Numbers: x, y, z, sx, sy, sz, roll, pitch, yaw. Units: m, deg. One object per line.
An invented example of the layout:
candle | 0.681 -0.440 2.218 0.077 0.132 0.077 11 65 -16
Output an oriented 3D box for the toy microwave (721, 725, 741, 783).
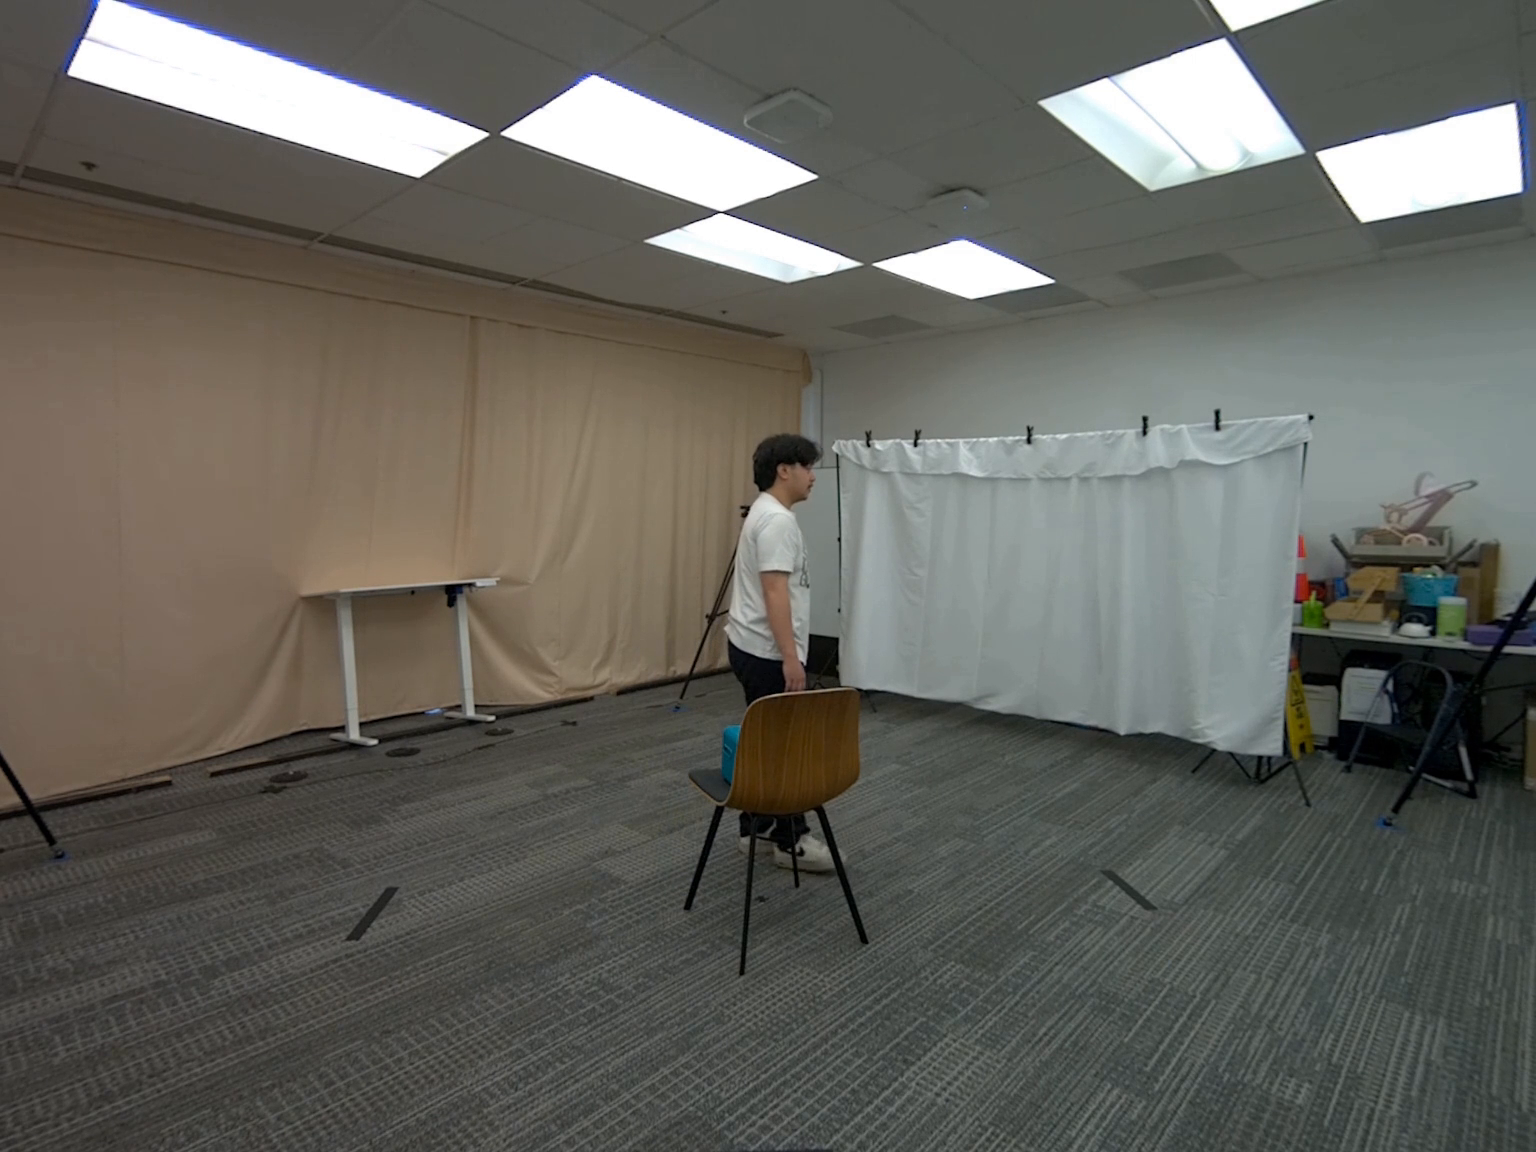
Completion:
toy microwave | 0.002 0.583 2.781 0.280 0.183 0.156 -2 8 -22
